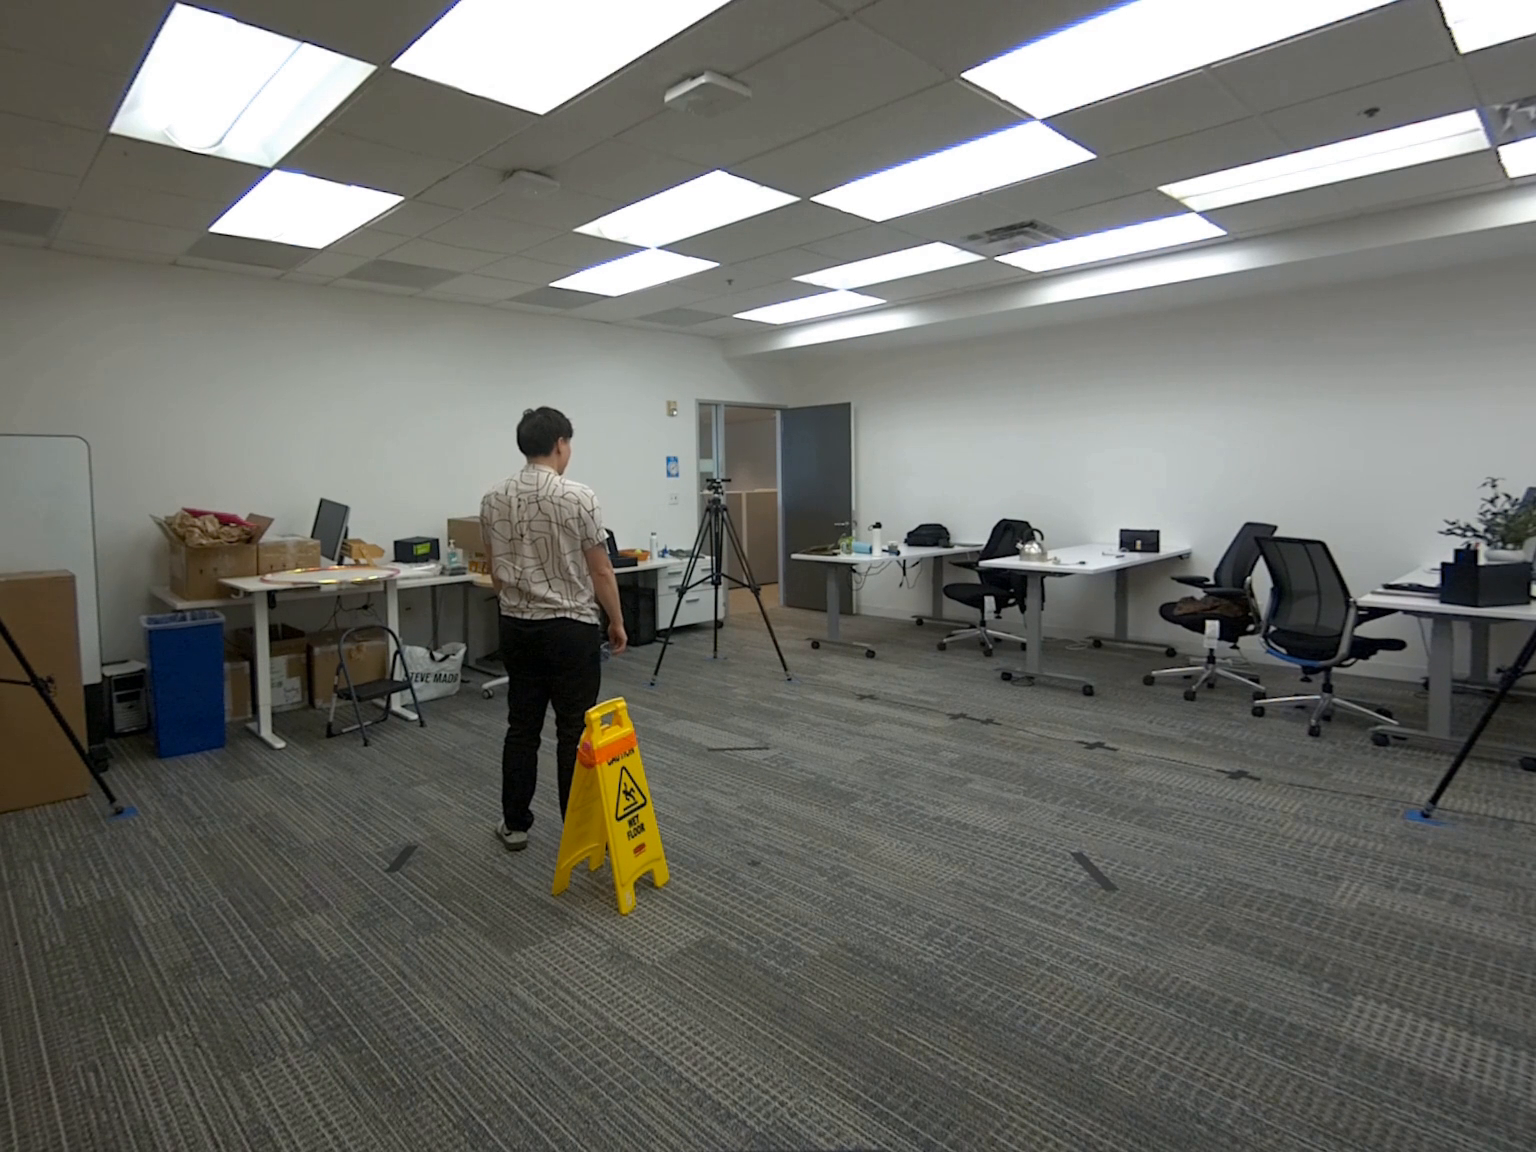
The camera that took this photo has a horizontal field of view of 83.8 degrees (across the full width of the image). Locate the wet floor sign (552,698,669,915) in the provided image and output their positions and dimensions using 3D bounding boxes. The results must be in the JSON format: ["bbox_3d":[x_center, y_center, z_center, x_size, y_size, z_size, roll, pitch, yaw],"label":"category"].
[{"bbox_3d":[-0.538,0.751,2.916,0.297,0.643,0.277,2,6,28],"label":"wet floor sign"}]
